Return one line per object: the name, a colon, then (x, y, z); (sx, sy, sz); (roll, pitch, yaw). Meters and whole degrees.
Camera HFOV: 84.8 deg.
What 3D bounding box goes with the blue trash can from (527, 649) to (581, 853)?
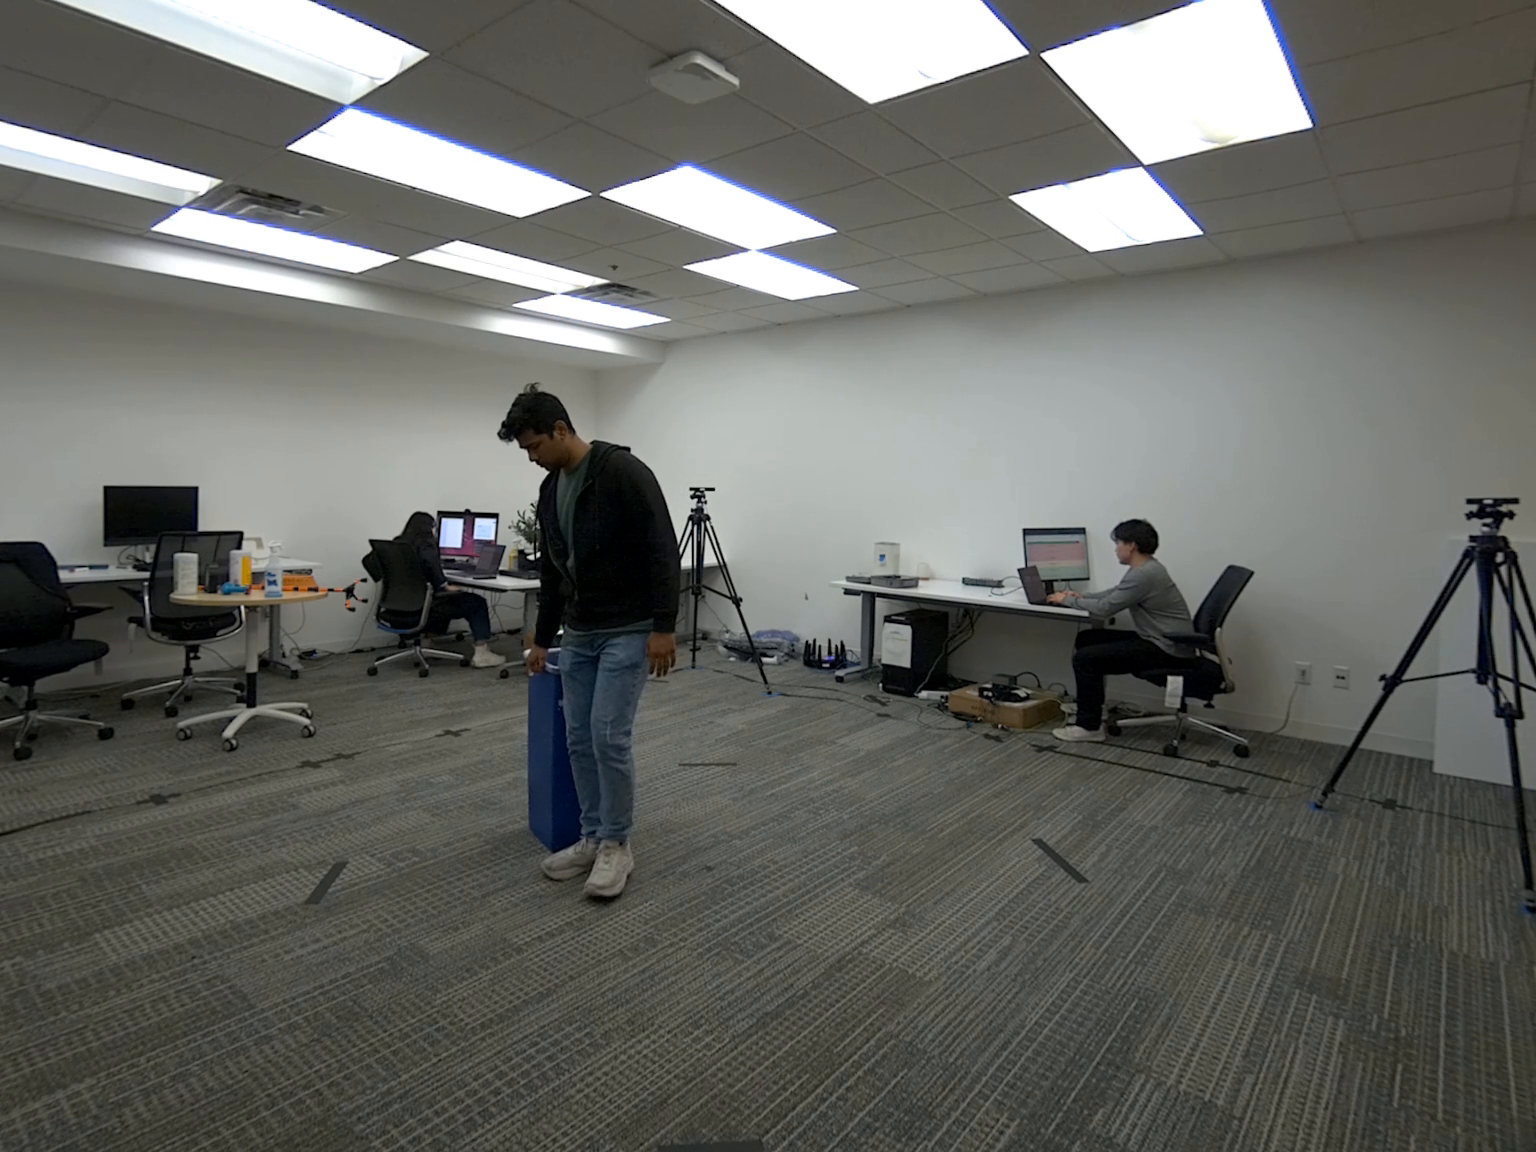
blue trash can: (-0.758, 0.667, 3.391); (0.367, 0.712, 0.386); (0, 3, -34)
